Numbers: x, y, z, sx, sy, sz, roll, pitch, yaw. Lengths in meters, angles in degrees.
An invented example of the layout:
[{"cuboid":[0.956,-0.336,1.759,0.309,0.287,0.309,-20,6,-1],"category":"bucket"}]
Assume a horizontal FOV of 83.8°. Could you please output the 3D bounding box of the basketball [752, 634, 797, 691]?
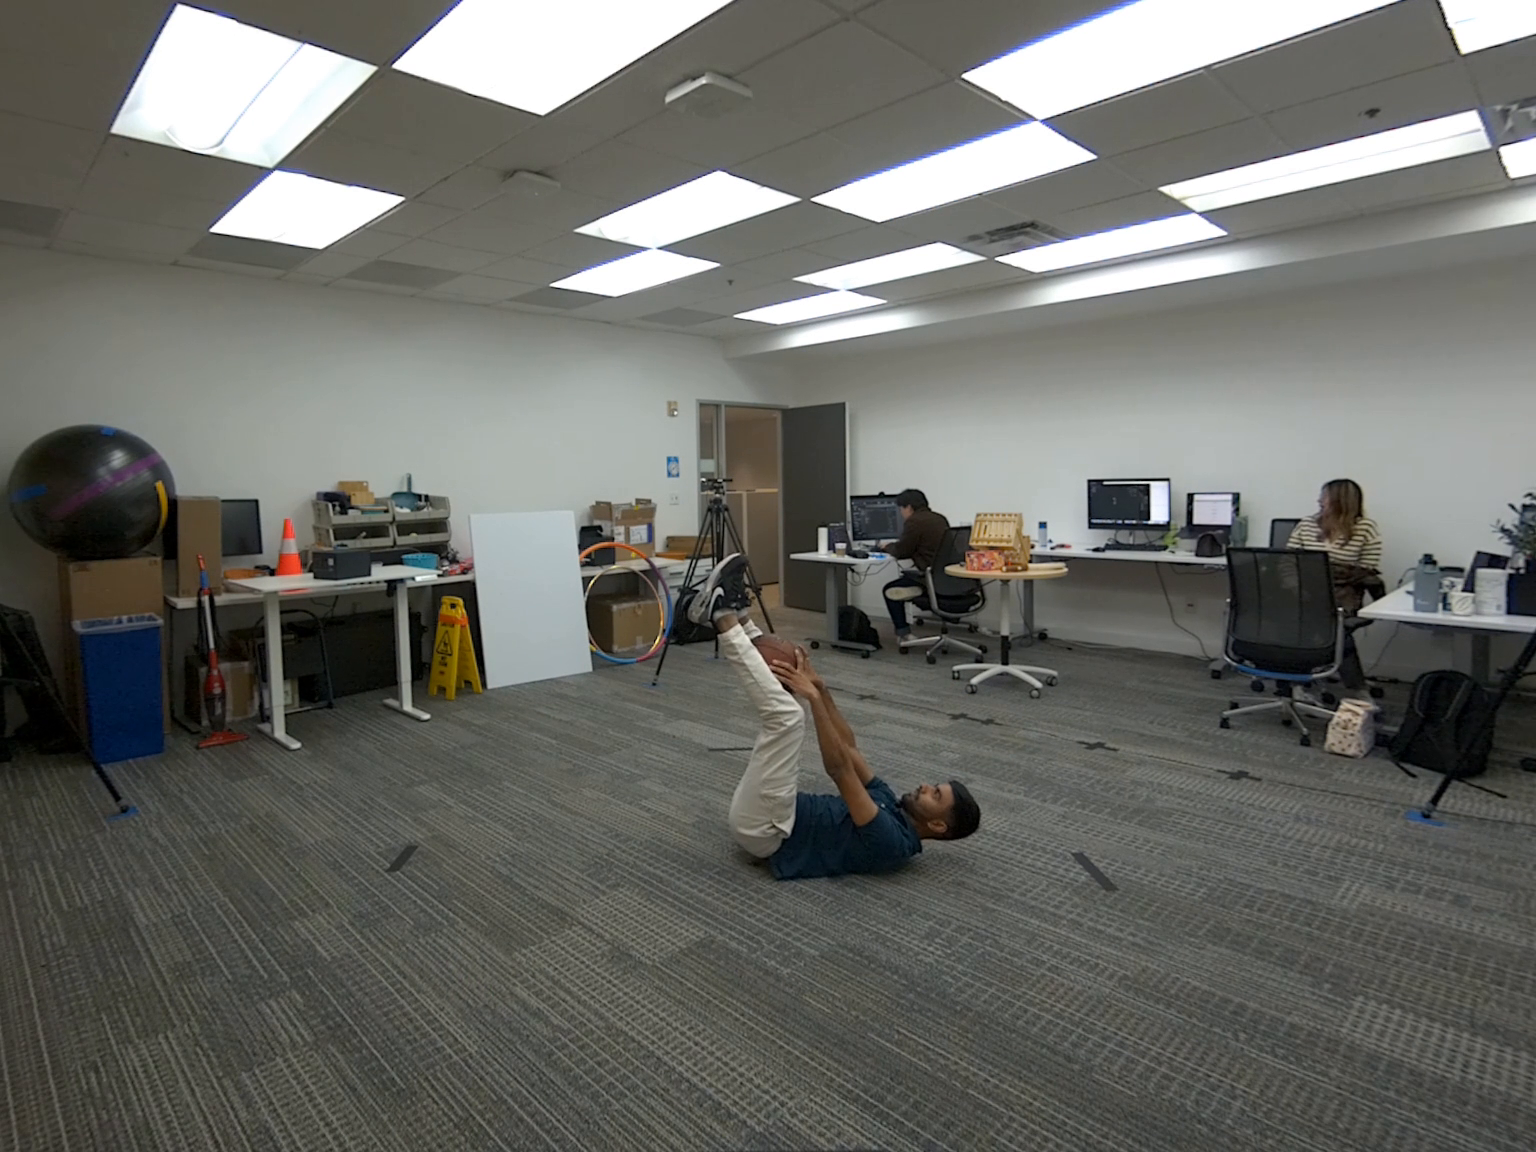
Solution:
[{"cuboid":[0.026,0.333,3.168,0.236,0.235,0.237,-1,5,-2],"category":"basketball"}]
